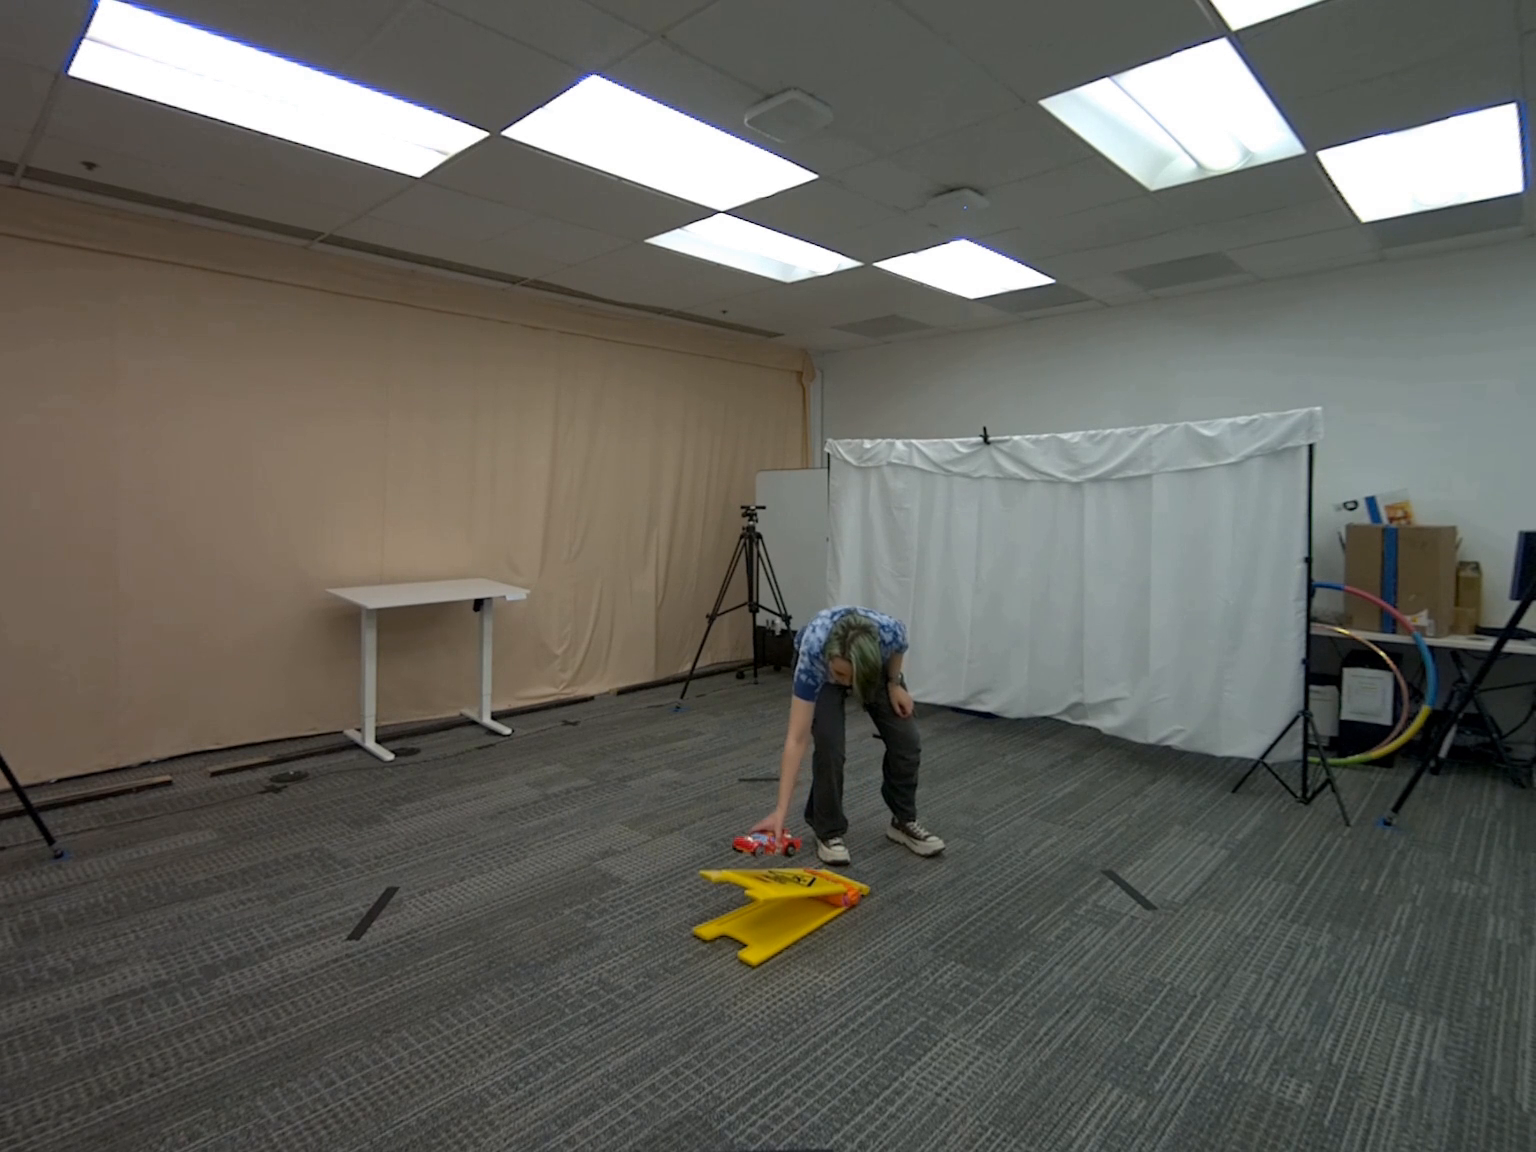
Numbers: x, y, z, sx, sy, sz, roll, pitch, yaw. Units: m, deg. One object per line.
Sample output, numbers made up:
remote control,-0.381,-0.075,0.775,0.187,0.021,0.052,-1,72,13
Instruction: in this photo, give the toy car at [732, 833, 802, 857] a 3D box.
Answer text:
toy car,0.010,0.898,2.807,0.246,0.083,0.134,2,-5,-42
